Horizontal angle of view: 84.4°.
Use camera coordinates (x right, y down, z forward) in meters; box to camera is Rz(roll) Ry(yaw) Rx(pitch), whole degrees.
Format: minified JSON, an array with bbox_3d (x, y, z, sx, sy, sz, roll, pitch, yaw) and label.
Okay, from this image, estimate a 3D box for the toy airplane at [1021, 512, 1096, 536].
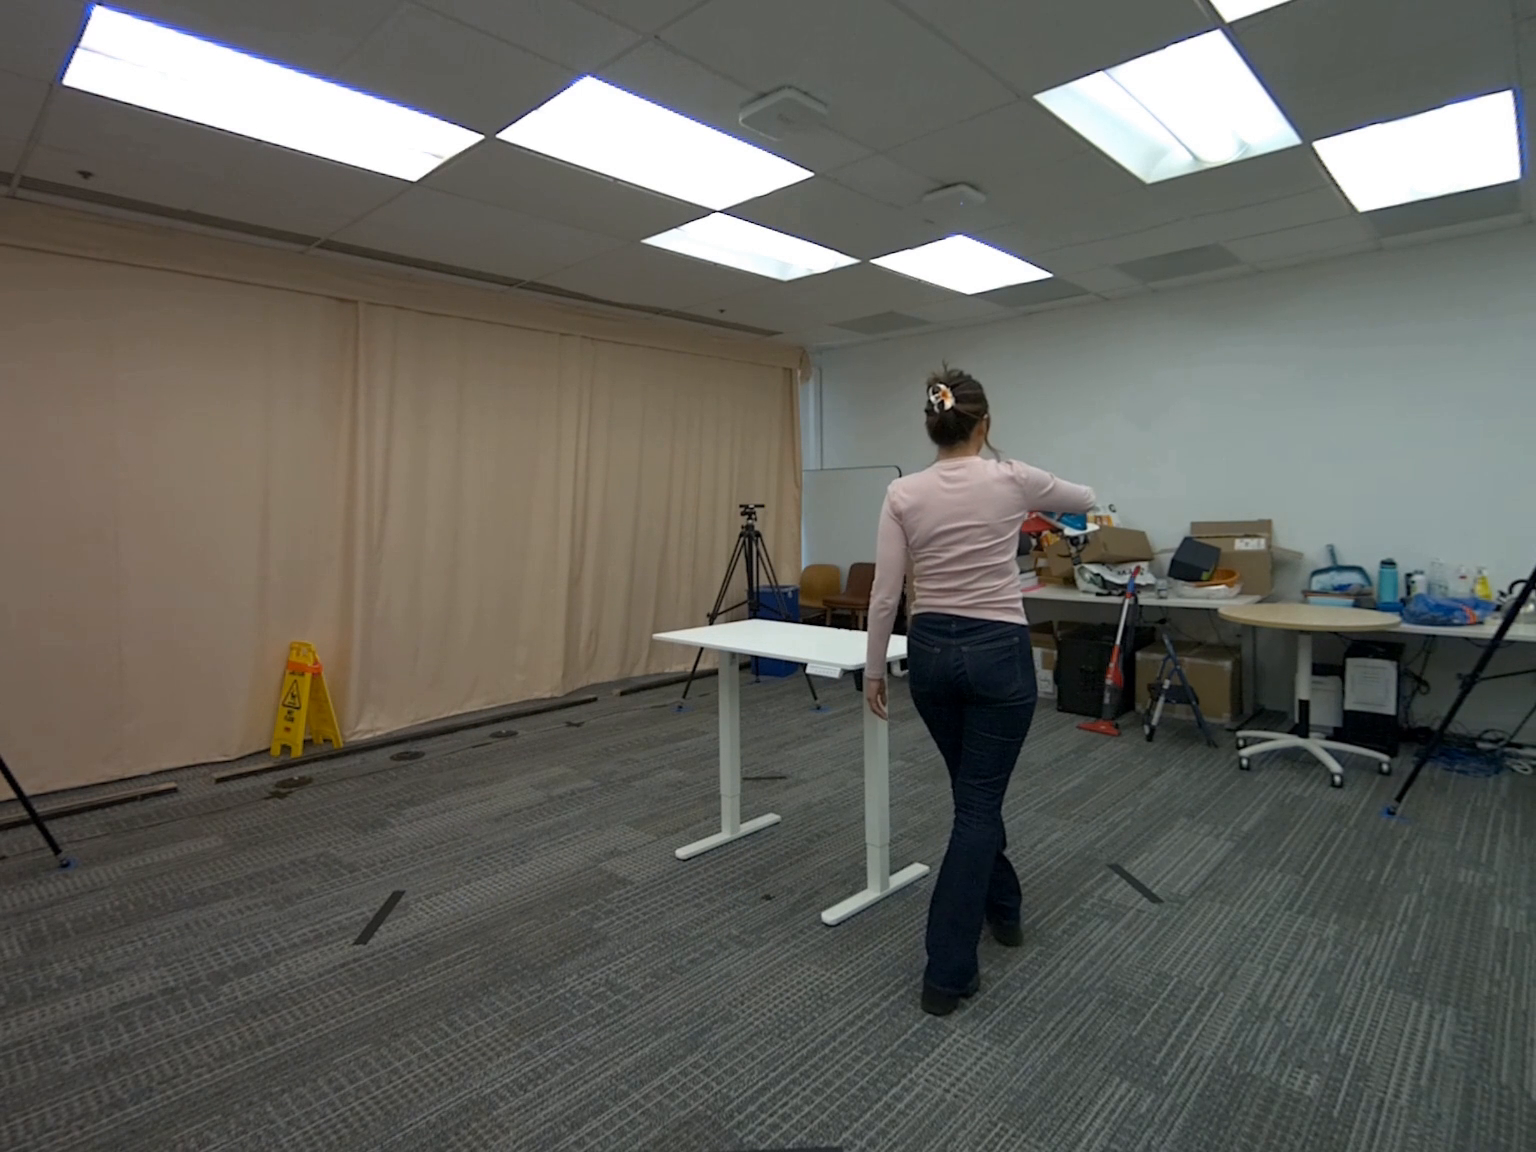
[{"bbox_3d":[1.027,-0.201,2.877,0.245,0.155,0.268,-23,20,-40],"label":"toy airplane"}]
